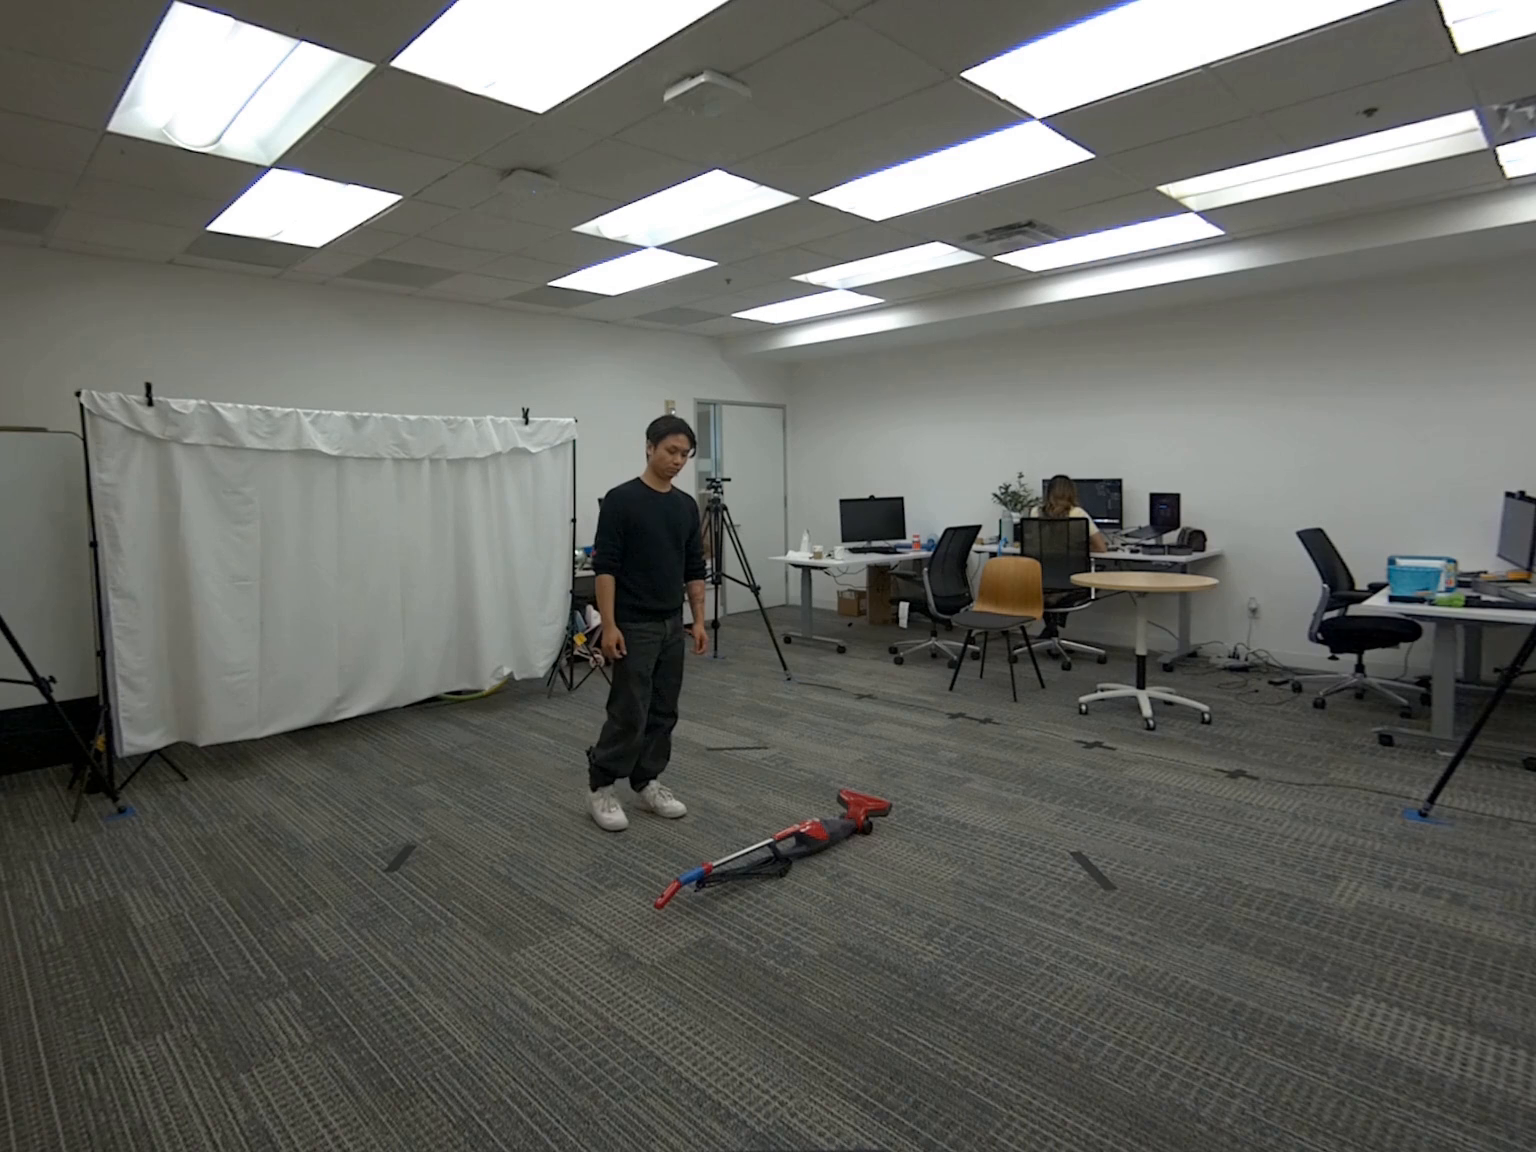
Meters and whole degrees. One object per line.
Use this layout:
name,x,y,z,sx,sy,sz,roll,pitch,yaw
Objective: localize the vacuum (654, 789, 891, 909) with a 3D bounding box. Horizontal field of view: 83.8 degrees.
vacuum,0.021,0.990,3.042,1.023,0.143,0.260,-9,8,-44
